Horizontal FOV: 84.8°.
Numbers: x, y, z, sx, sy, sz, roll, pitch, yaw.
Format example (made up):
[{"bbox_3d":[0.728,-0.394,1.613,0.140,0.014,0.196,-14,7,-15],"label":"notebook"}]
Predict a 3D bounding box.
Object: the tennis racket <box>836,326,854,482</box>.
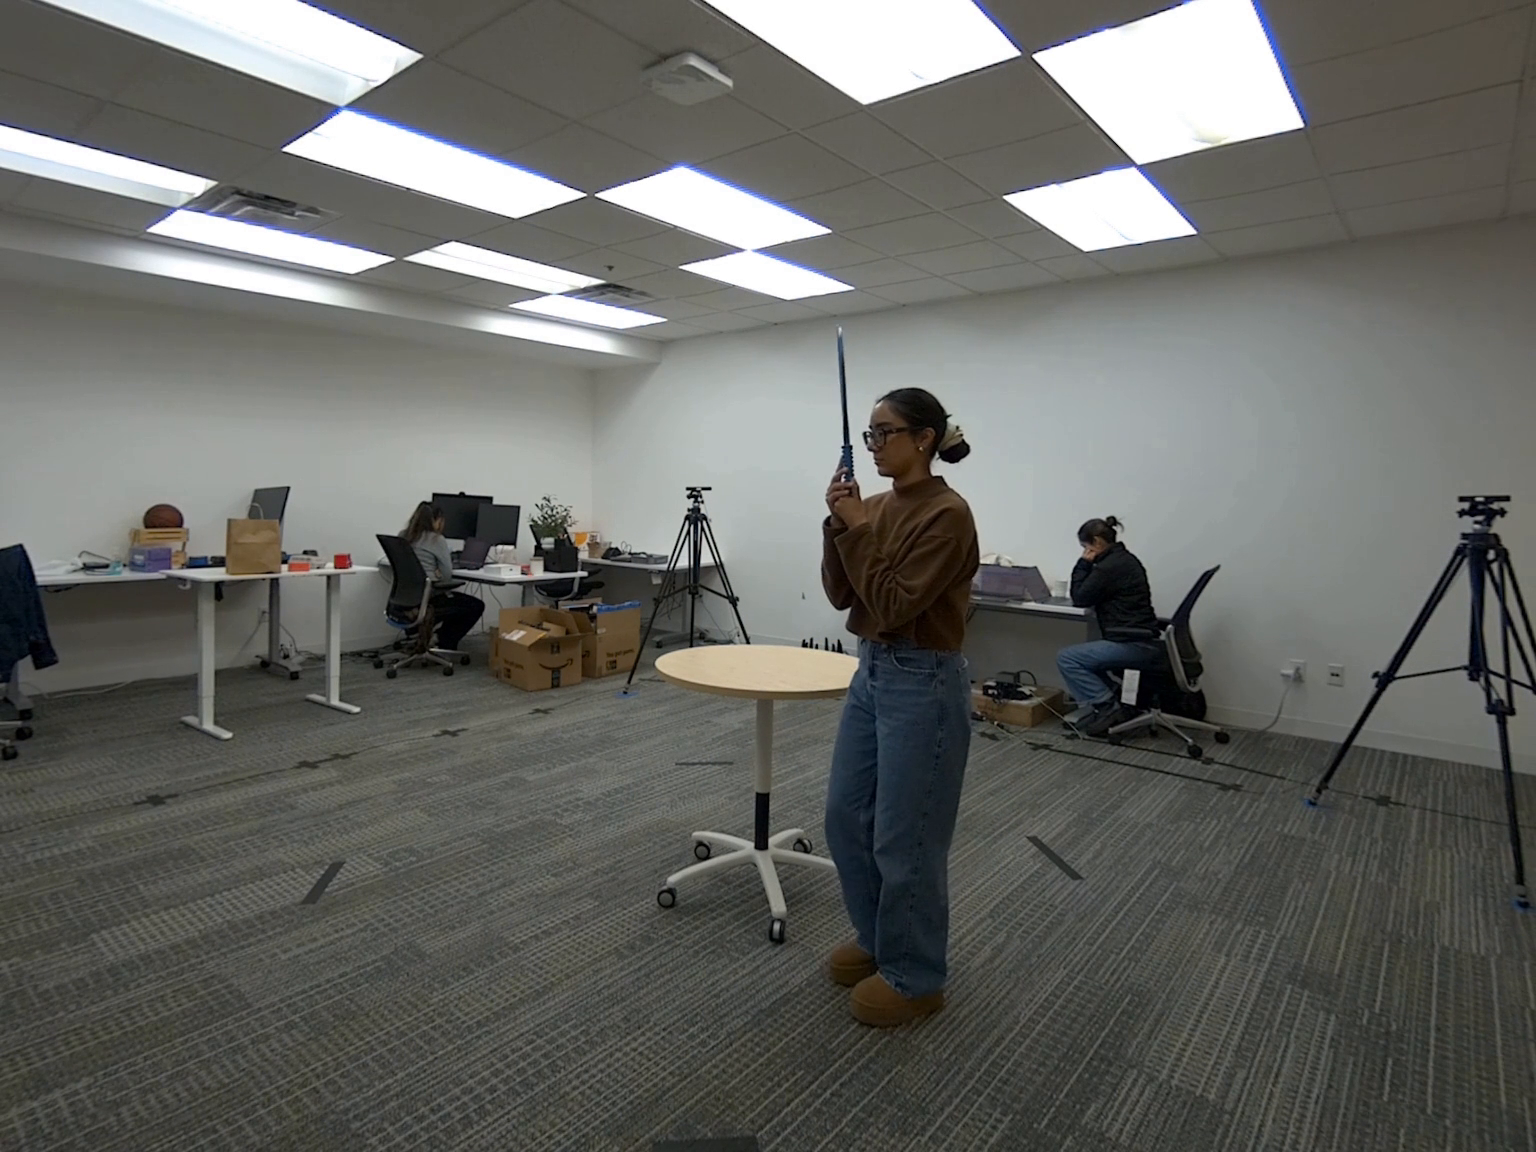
[{"bbox_3d":[0.192,-0.432,2.187,0.032,0.436,0.211,-4,-6,3],"label":"tennis racket"}]
